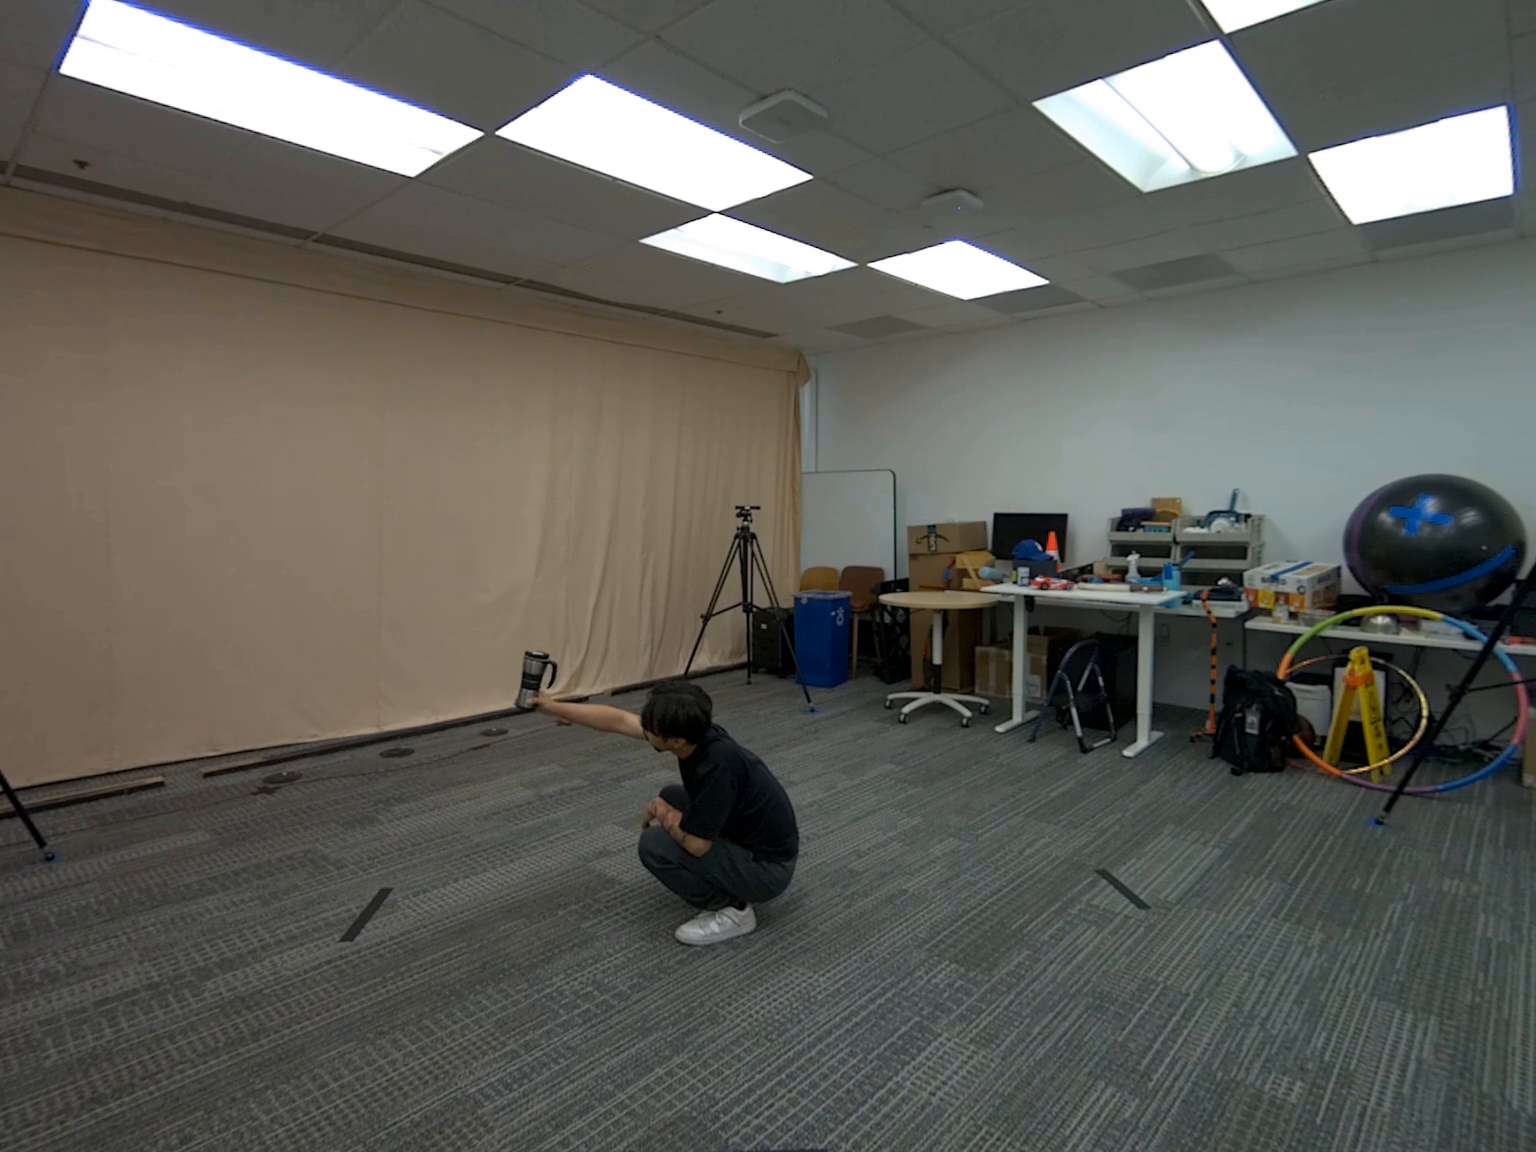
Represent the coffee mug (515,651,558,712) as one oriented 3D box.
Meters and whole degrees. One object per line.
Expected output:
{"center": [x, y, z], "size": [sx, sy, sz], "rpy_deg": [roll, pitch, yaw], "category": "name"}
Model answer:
{"center": [-0.833, 0.383, 2.935], "size": [0.126, 0.203, 0.085], "rpy_deg": [13, 1, 39], "category": "coffee mug"}
